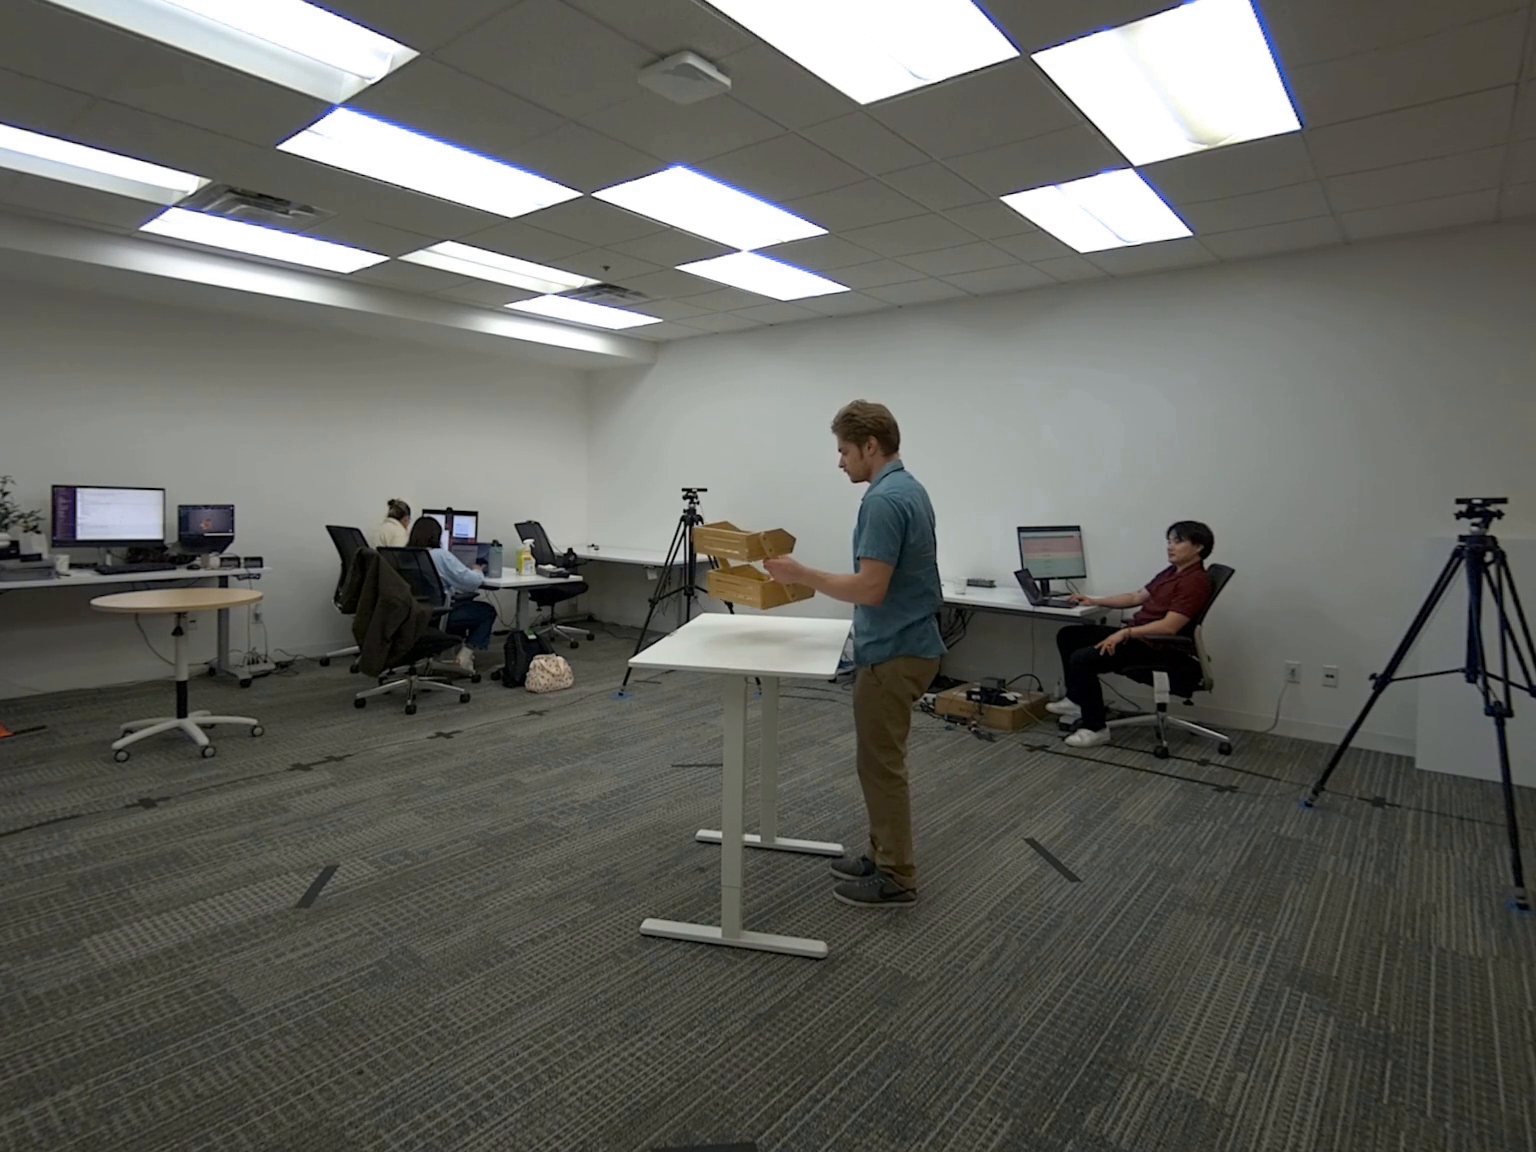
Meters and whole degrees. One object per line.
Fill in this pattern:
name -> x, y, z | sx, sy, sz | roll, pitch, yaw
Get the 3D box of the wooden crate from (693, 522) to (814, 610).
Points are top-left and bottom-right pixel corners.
wooden crate -> -0.051, -0.056, 2.952 | 0.294, 0.270, 0.336 | -12, 14, -38
